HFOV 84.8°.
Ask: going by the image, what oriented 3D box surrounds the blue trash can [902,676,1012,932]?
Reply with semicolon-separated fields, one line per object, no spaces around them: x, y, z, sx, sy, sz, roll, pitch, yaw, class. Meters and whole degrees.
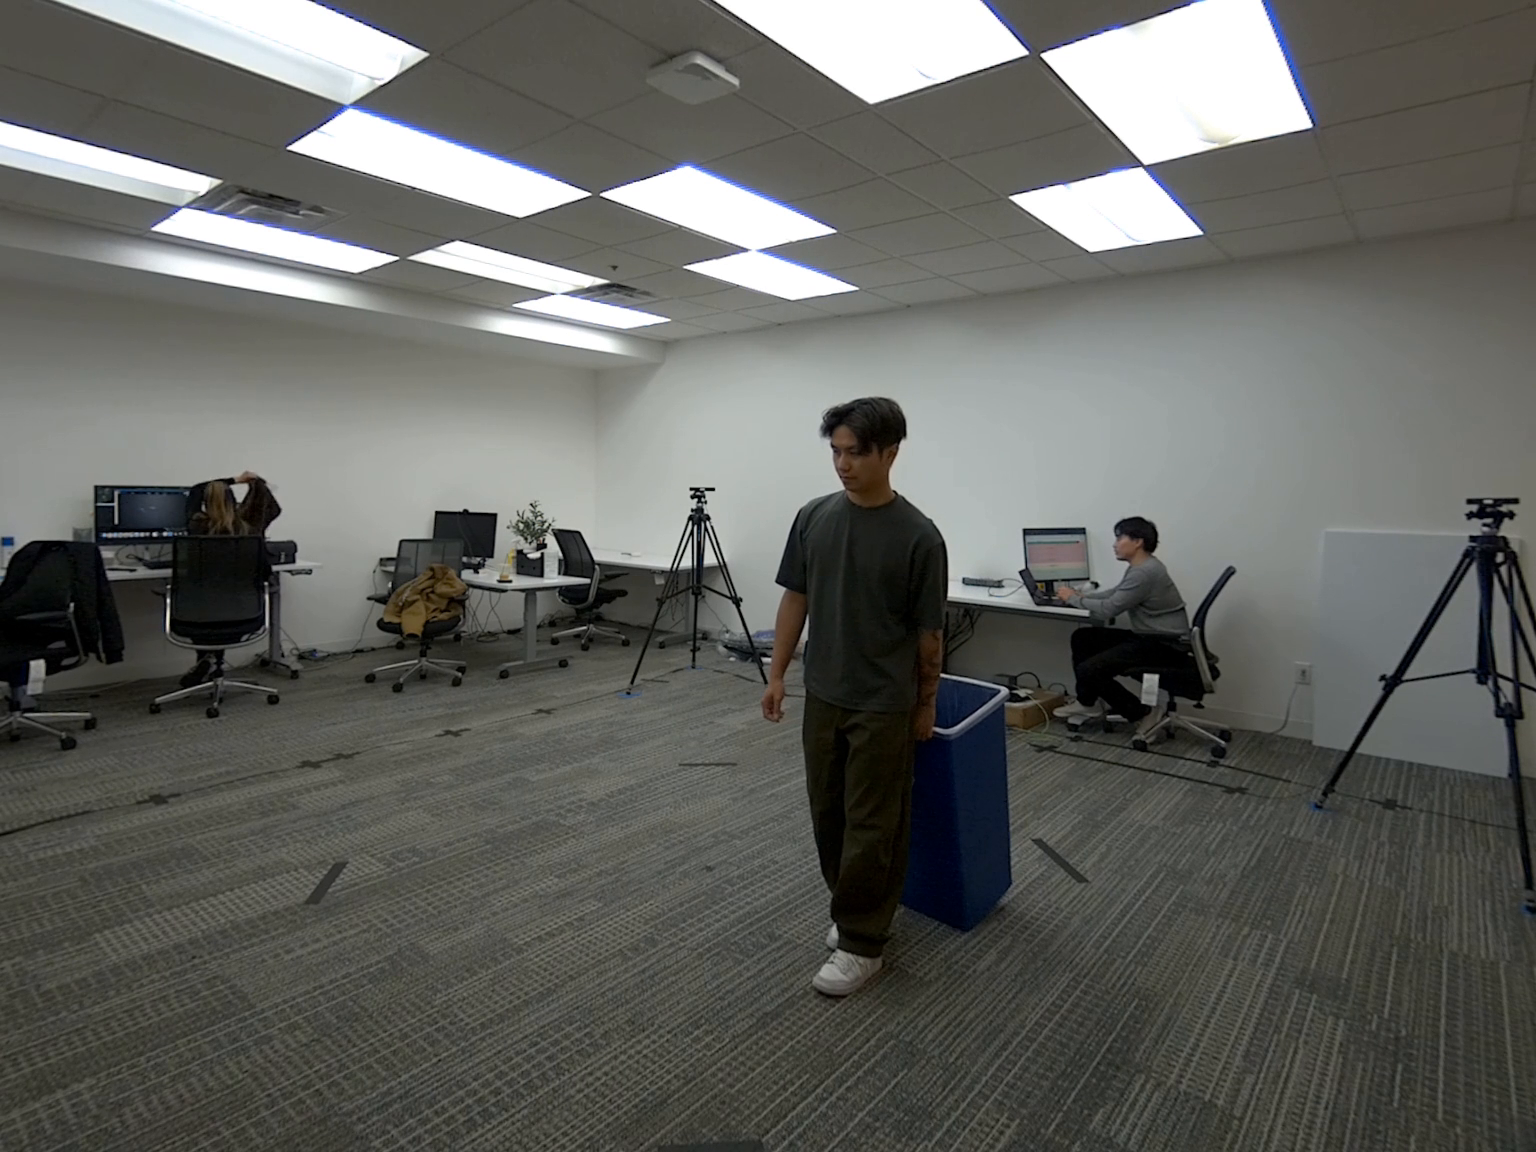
0.578;0.731;2.816;0.370;0.704;0.387;-20;17;-42;blue trash can
